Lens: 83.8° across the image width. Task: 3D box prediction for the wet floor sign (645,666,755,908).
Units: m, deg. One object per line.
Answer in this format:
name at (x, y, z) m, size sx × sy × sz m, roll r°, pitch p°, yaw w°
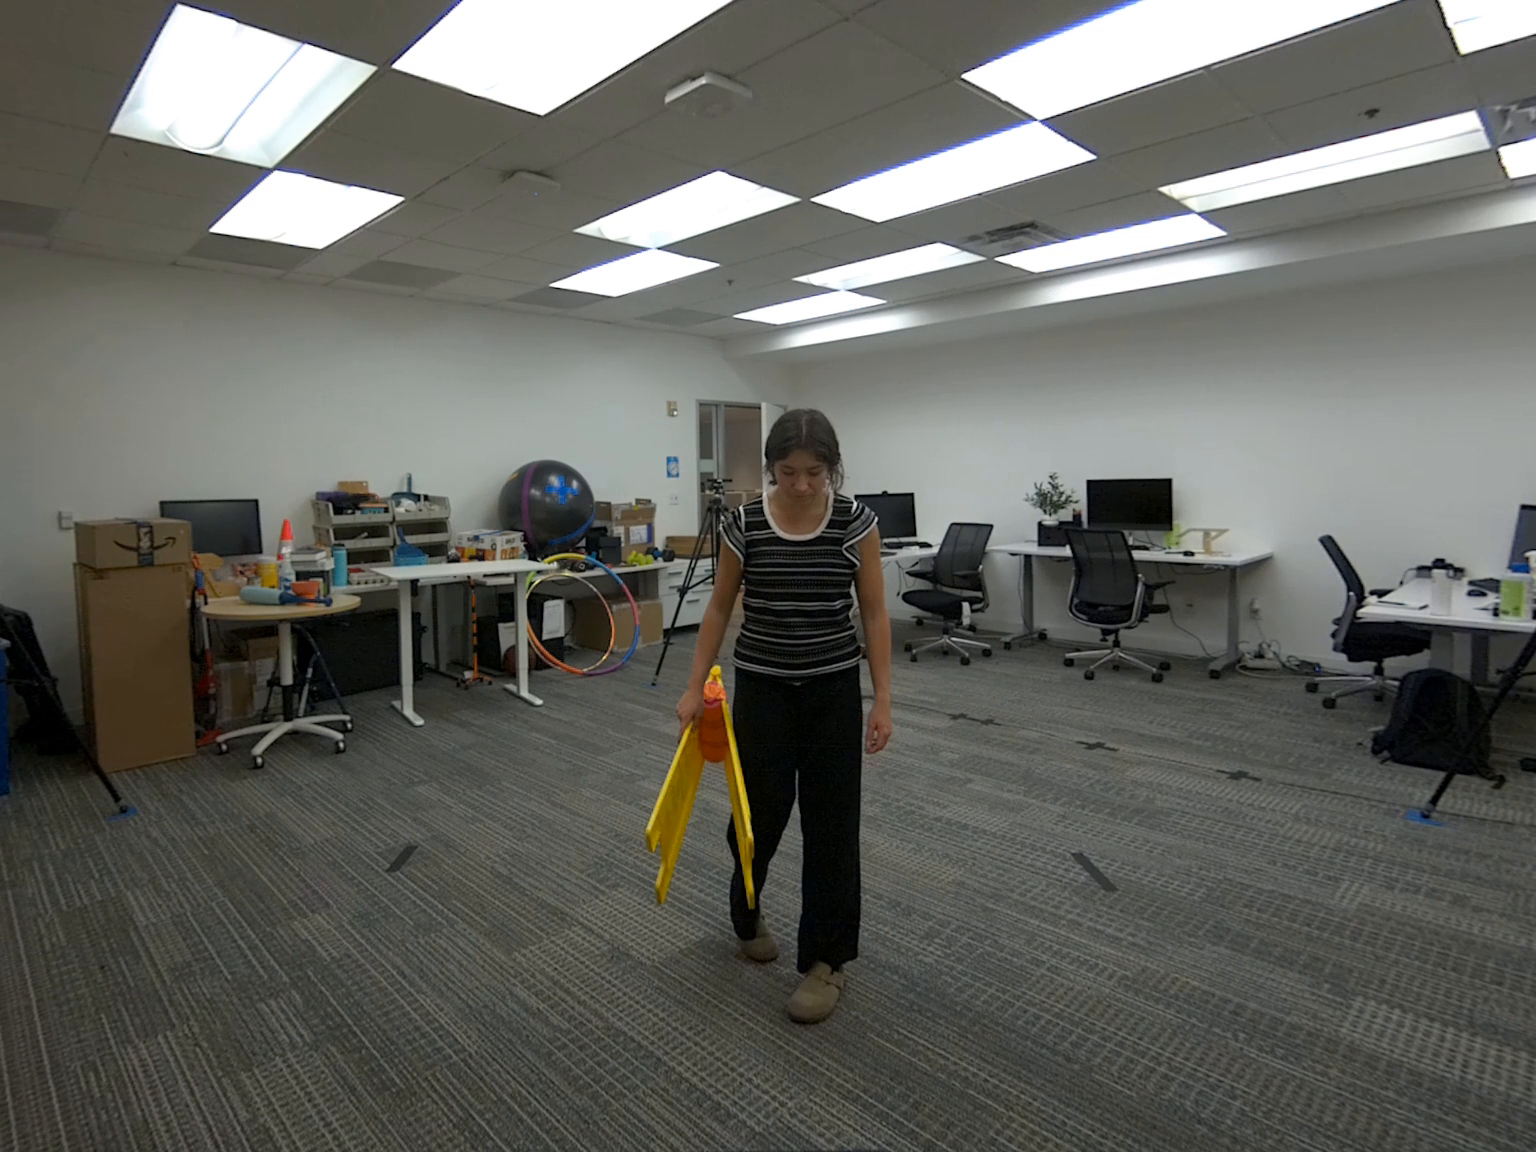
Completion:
wet floor sign at (-0.162, 0.538, 2.351) m, size 0.290 × 0.275 × 0.662 m, roll -1°, pitch 35°, yaw 1°
